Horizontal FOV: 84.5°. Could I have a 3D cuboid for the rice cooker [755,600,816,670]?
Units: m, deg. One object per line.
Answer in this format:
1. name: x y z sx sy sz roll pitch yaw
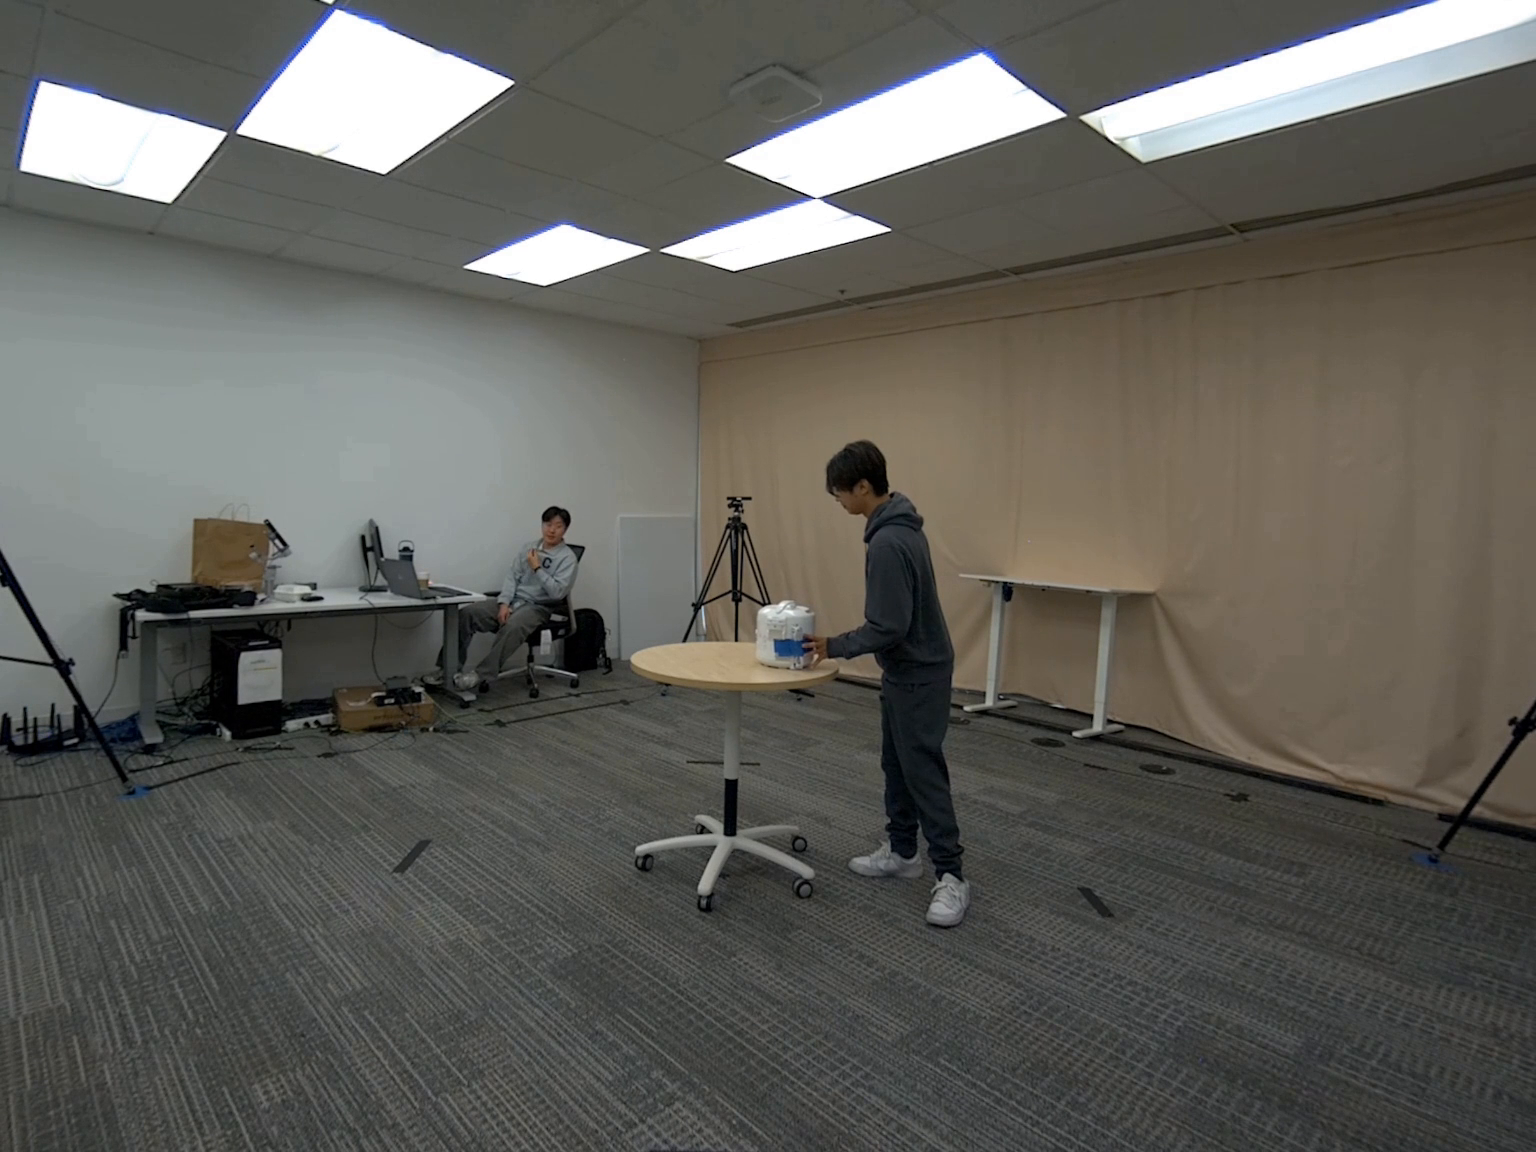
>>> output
1. rice cooker: 0.059 0.205 3.040 0.222 0.232 0.217 5 4 24
